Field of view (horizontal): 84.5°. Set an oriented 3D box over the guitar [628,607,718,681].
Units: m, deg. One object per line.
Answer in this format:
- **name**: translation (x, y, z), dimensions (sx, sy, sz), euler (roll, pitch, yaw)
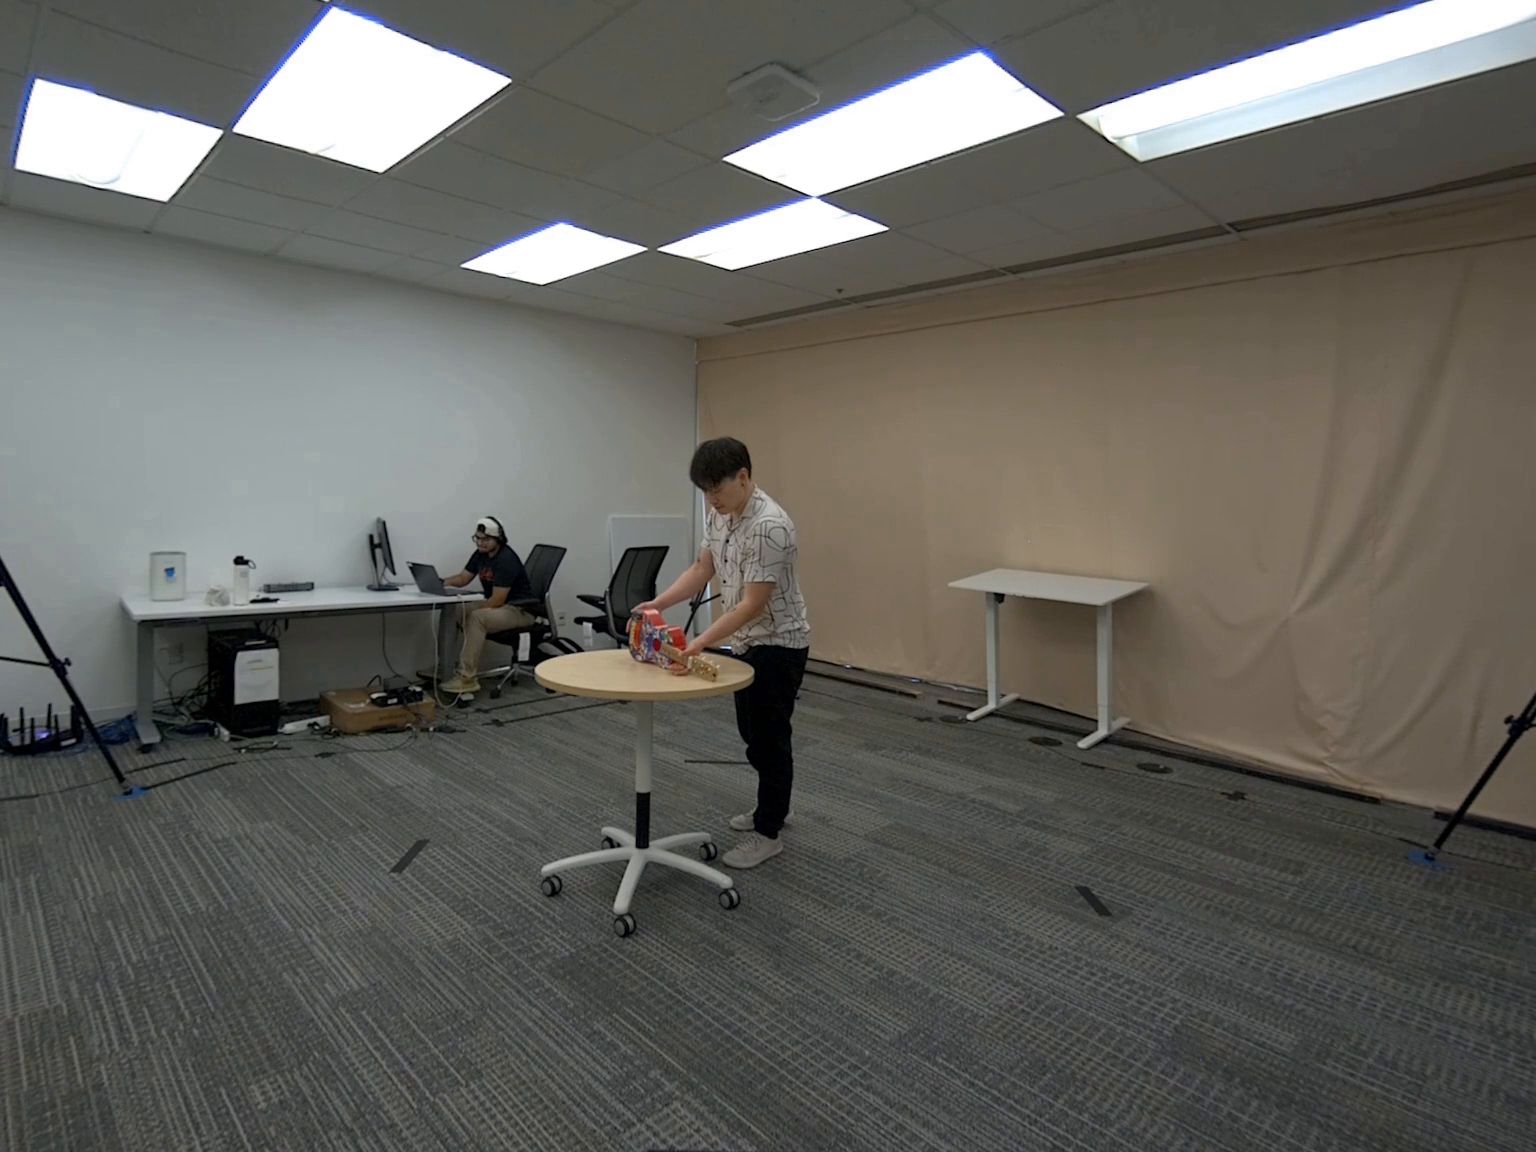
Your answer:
- **guitar**: translation (-0.336, 0.285, 2.955), dimensions (0.069, 0.191, 0.514), euler (1, 21, -43)
